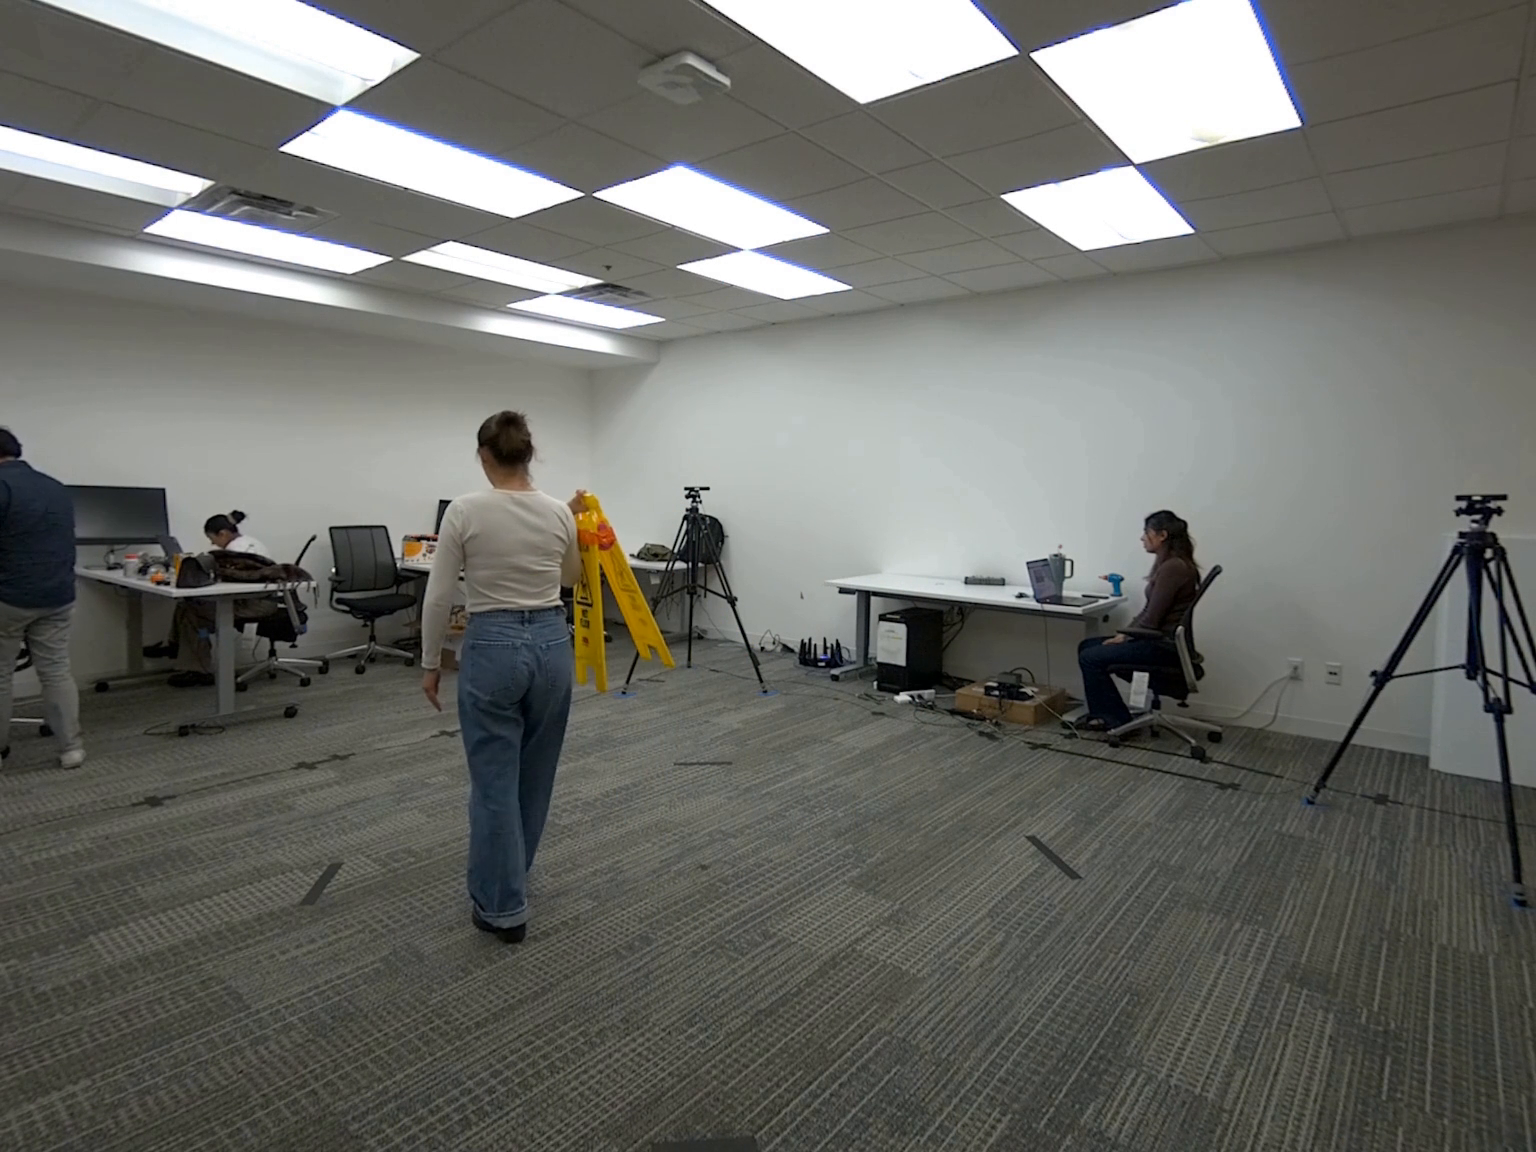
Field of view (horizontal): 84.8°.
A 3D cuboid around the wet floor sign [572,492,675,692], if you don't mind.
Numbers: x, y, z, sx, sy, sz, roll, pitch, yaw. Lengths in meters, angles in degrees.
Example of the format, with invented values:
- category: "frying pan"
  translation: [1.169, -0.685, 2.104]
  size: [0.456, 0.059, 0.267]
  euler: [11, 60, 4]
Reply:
- category: "wet floor sign"
  translation: [-0.577, 0.035, 2.945]
  size: [0.284, 0.641, 0.290]
  euler: [-16, 8, -28]
